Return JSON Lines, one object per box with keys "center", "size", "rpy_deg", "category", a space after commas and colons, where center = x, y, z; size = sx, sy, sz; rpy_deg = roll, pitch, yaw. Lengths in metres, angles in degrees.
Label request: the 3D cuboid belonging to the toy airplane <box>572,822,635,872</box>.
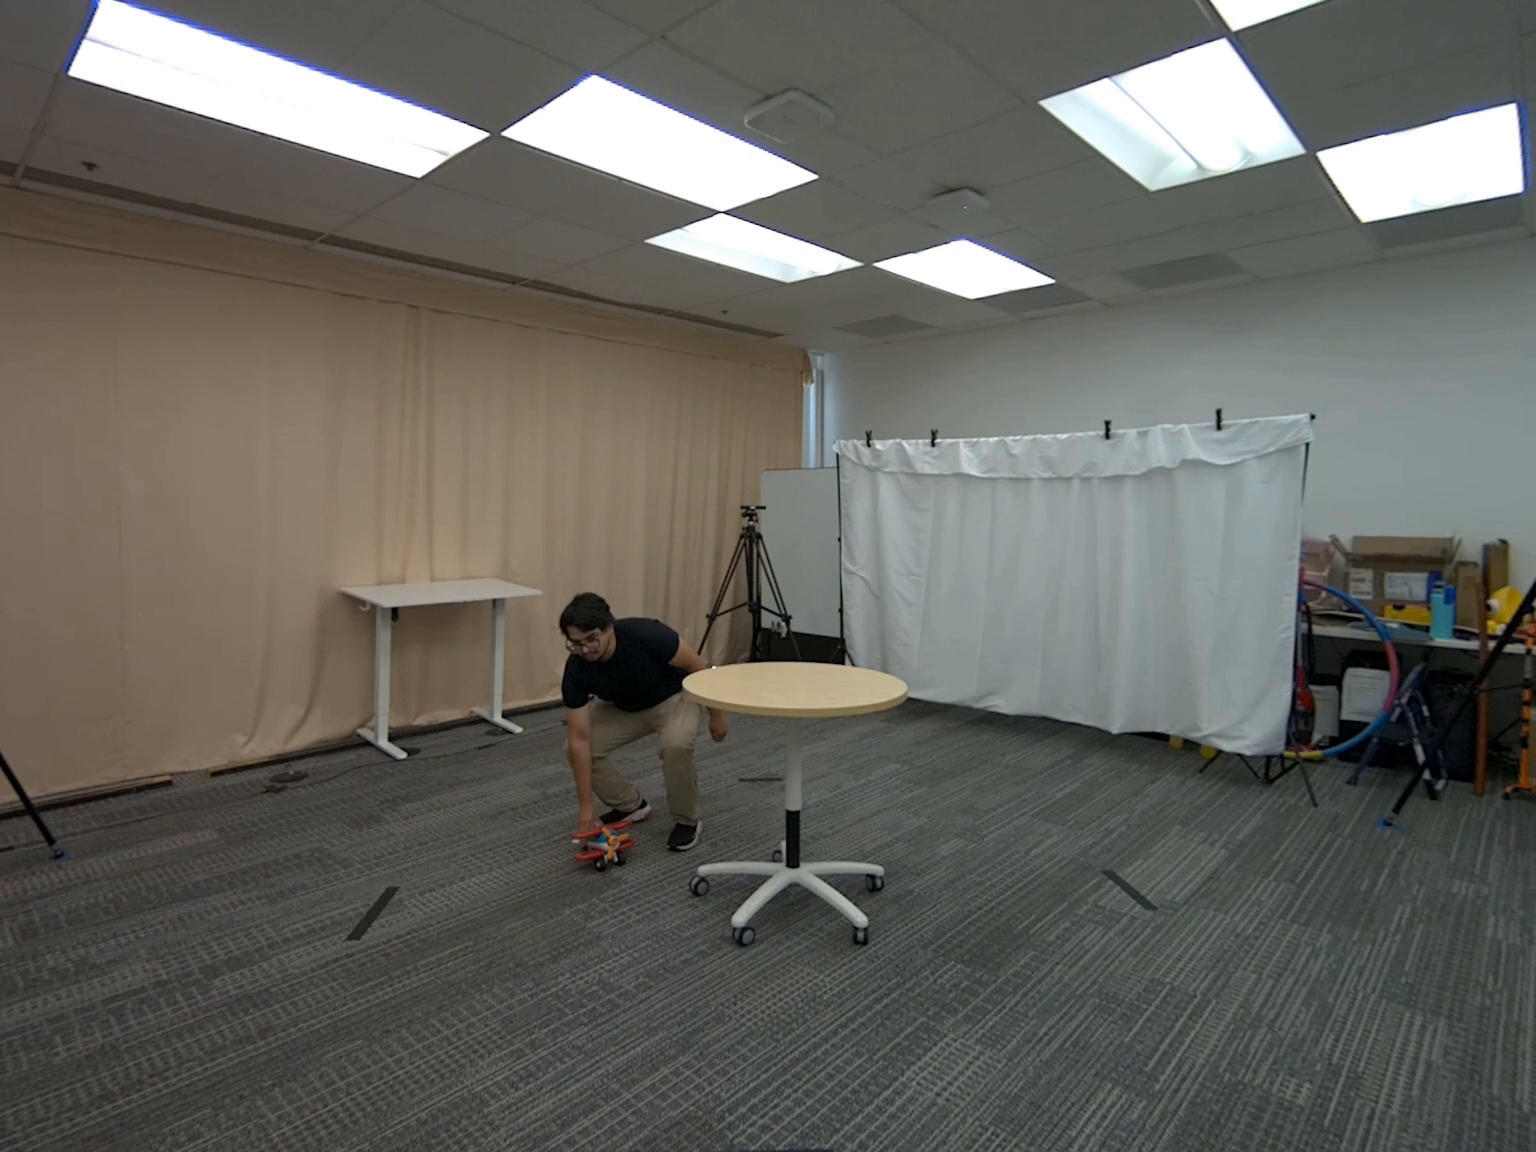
{"center": [-0.677, 1.050, 3.301], "size": [0.266, 0.156, 0.245], "rpy_deg": [3, 6, 25], "category": "toy airplane"}
